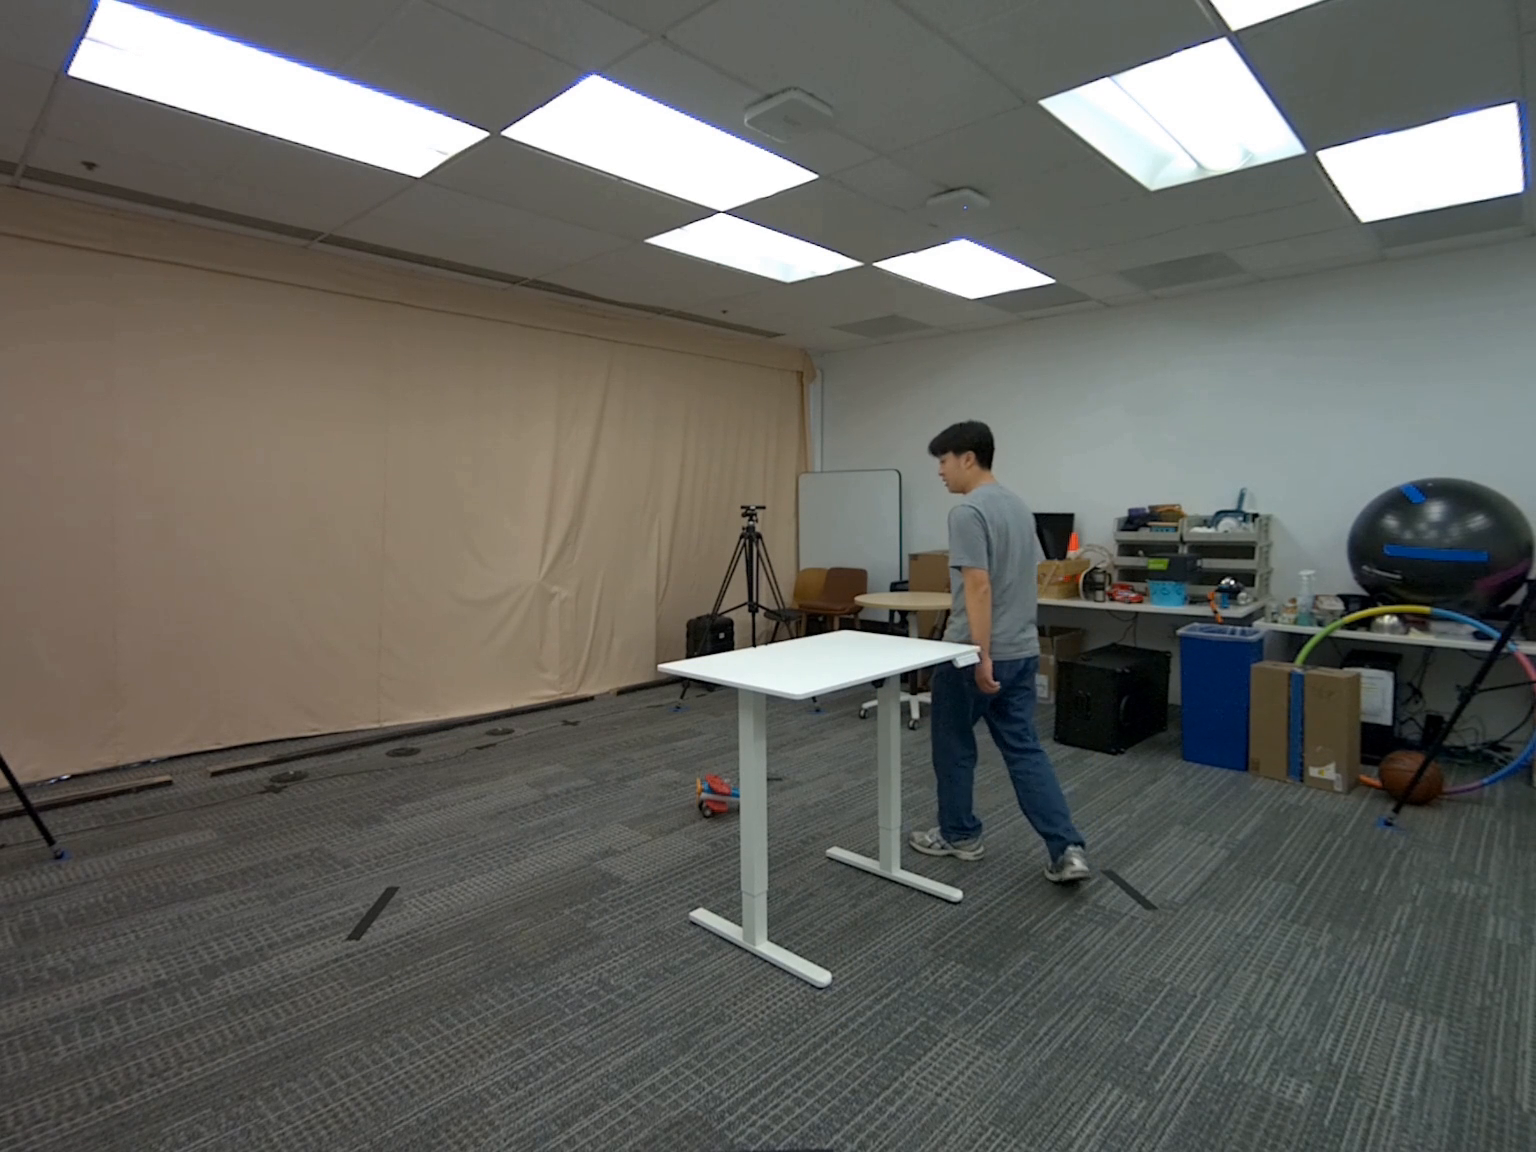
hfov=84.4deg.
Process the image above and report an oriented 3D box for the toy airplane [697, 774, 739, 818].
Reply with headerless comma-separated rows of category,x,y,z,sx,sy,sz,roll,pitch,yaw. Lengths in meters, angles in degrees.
toy airplane,-0.208,1.001,3.847,0.251,0.156,0.259,-5,7,-43
